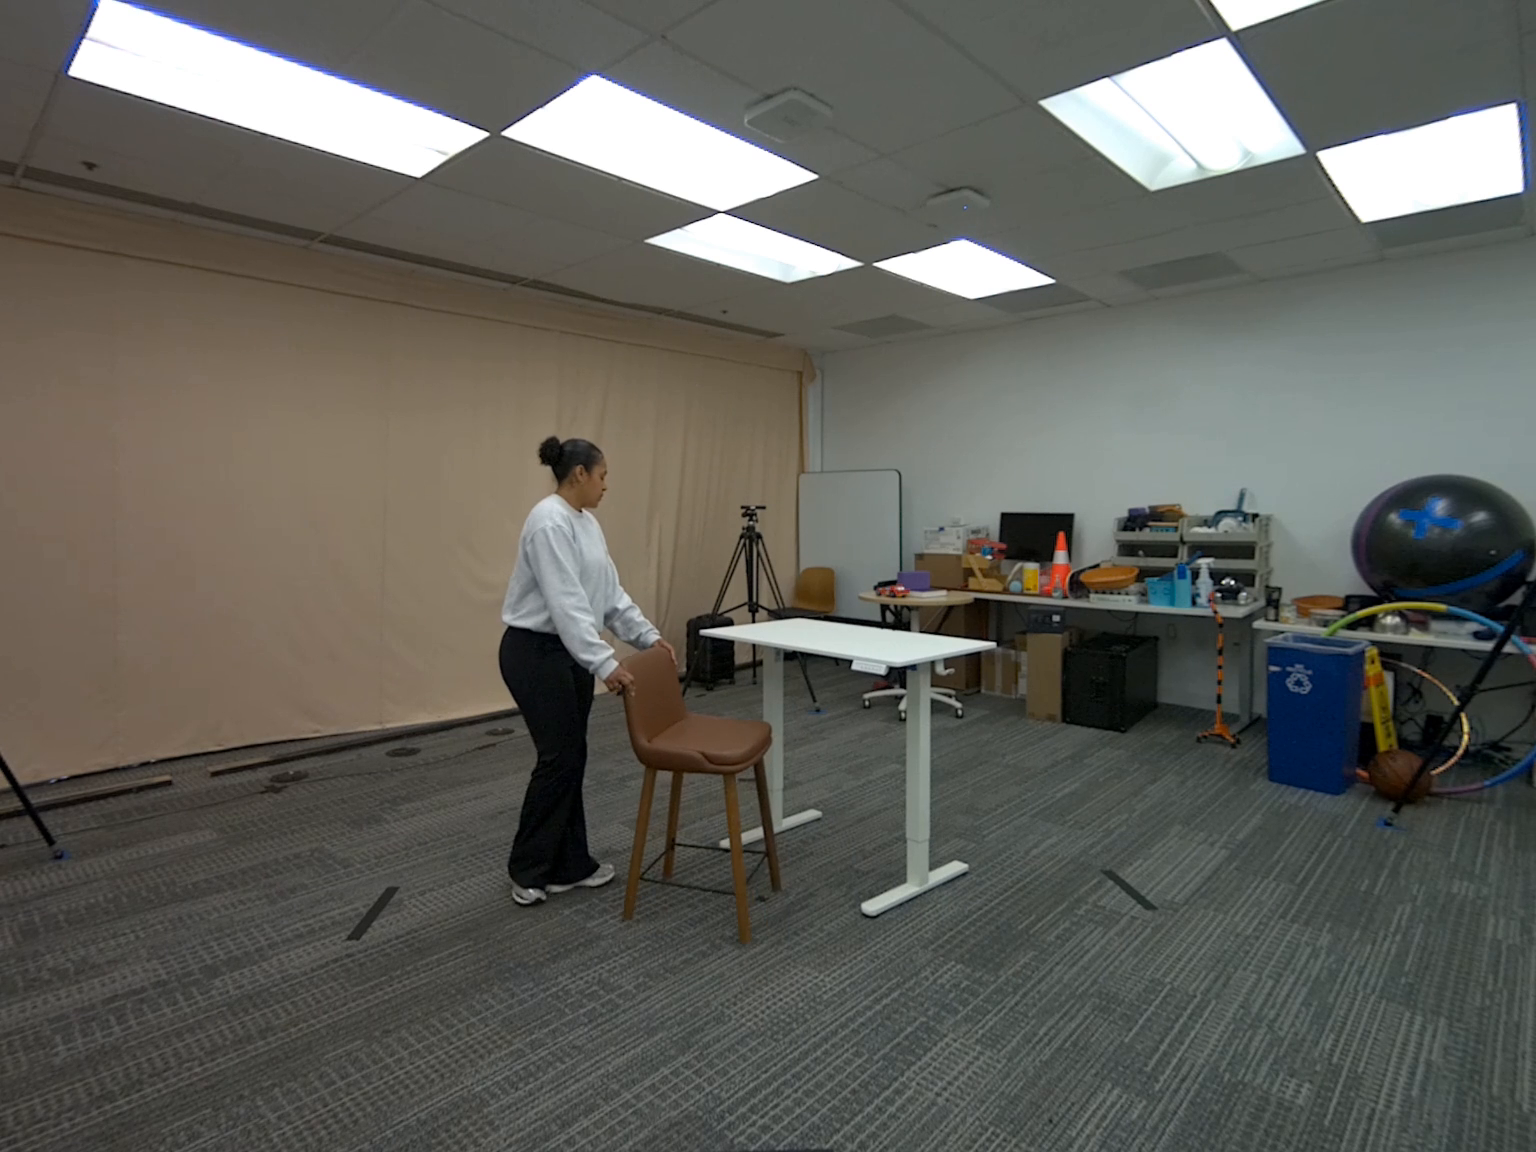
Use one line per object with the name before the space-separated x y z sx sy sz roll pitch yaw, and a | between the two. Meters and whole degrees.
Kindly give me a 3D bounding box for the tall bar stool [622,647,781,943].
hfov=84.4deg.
tall bar stool | -0.237 0.713 2.914 0.477 0.888 0.448 -2 3 19
